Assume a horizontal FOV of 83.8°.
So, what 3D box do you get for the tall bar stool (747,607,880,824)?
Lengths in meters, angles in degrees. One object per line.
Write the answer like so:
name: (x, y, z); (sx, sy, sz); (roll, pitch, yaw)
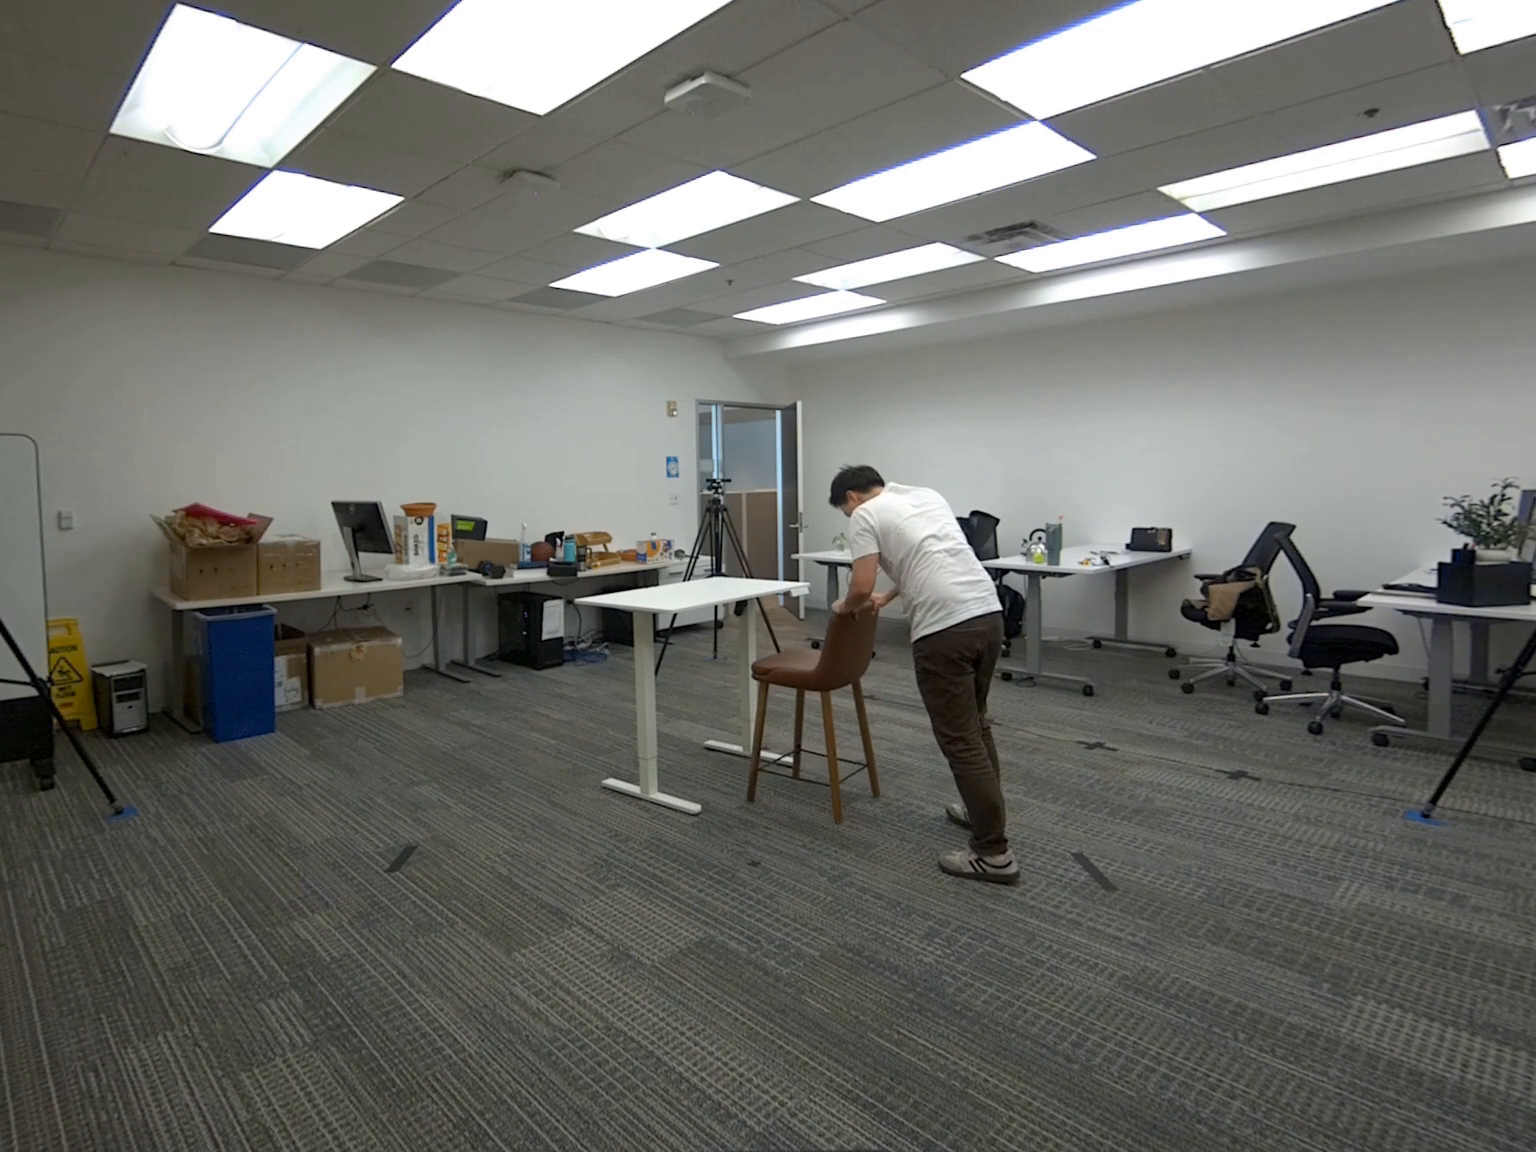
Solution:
tall bar stool: (0.207, 0.535, 3.691); (0.482, 0.886, 0.445); (5, 7, 35)
